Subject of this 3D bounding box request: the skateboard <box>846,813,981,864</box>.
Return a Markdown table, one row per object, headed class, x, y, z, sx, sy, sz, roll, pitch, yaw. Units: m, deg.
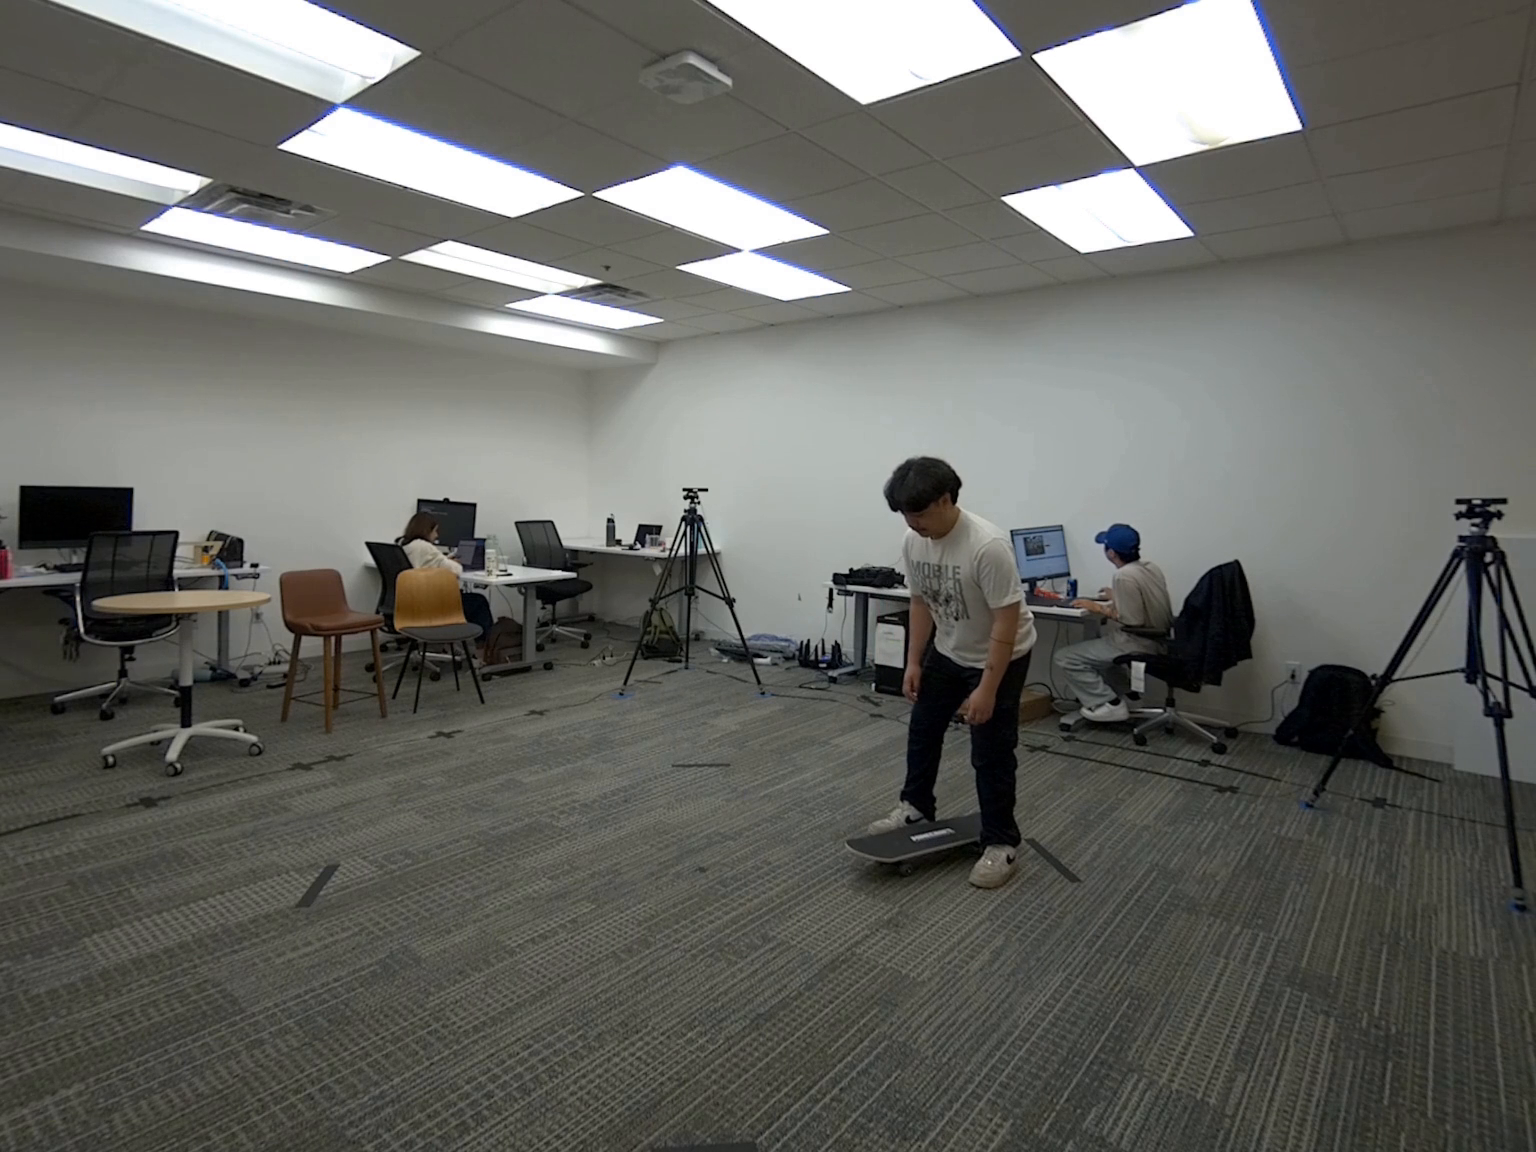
| class | x | y | z | sx | sy | sz | roll | pitch | yaw |
| --- | --- | --- | --- | --- | --- | --- | --- | --- | --- |
| skateboard | 0.630 | 1.021 | 3.265 | 0.765 | 0.110 | 0.199 | -2 | 6 | -30 |
